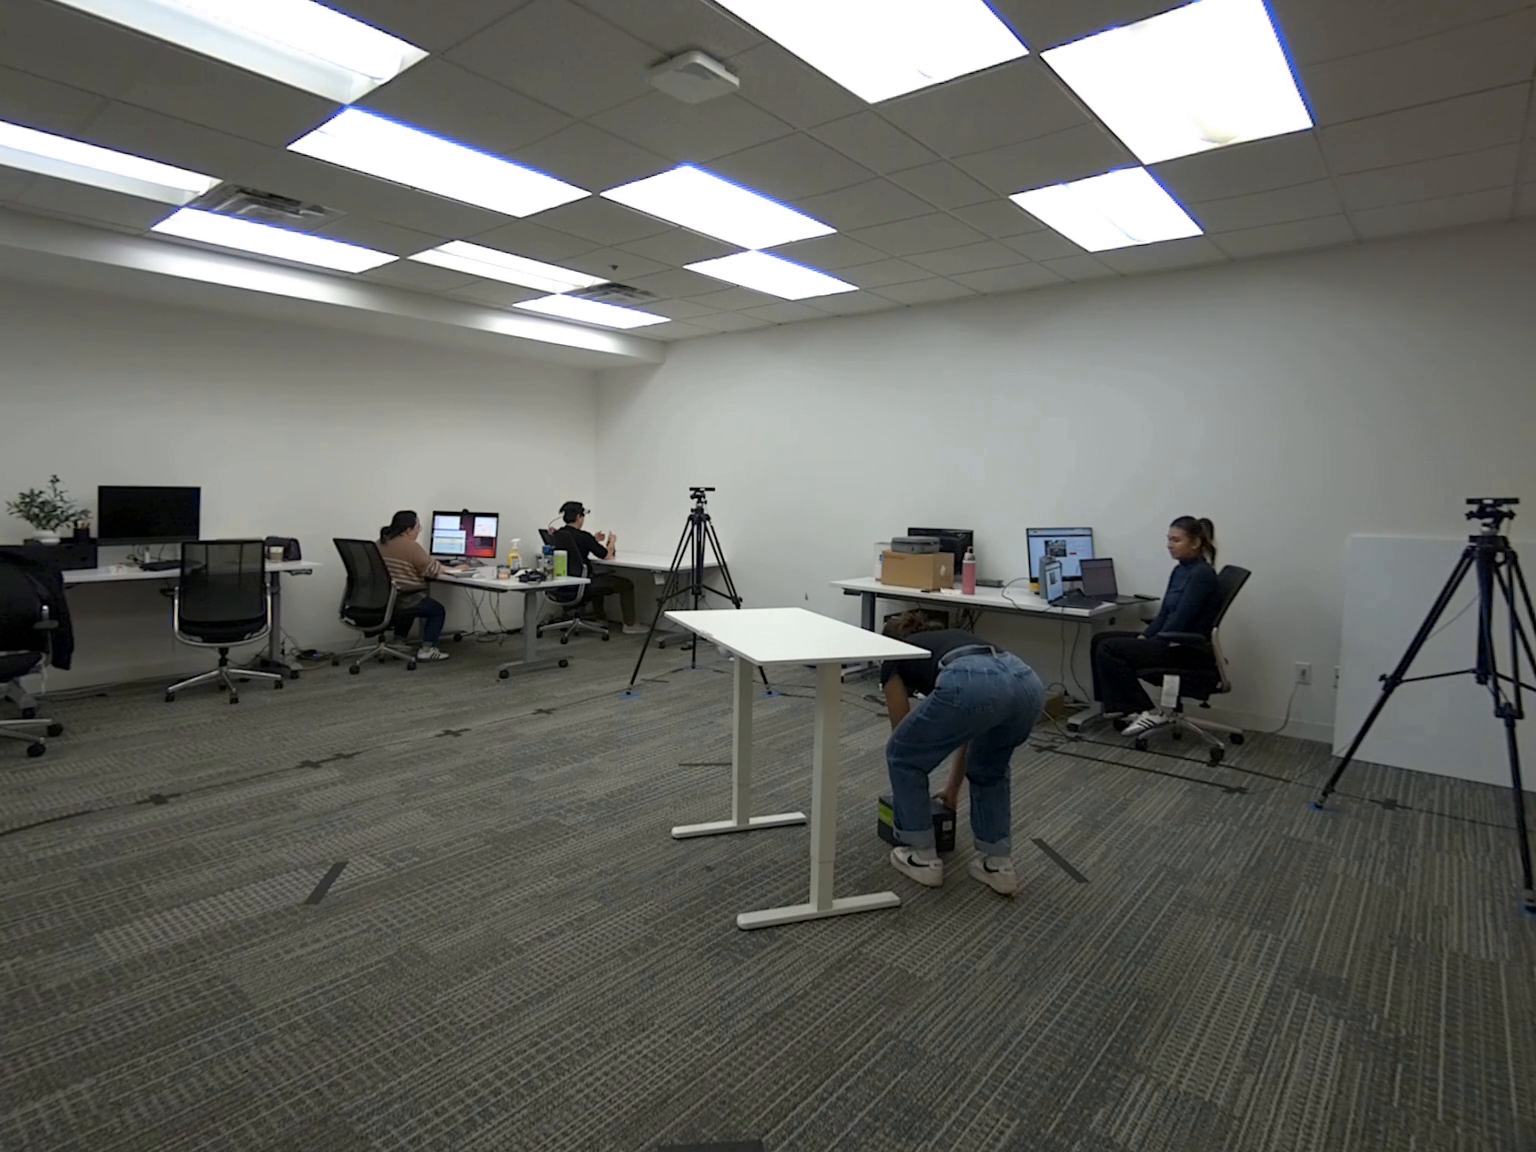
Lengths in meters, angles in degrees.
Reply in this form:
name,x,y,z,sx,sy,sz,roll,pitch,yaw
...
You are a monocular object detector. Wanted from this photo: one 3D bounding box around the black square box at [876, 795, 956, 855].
name,x,y,z,sx,sy,sz,roll,pitch,yaw
black square box,0.589,0.976,3.381,0.212,0.155,0.234,-1,6,-24
